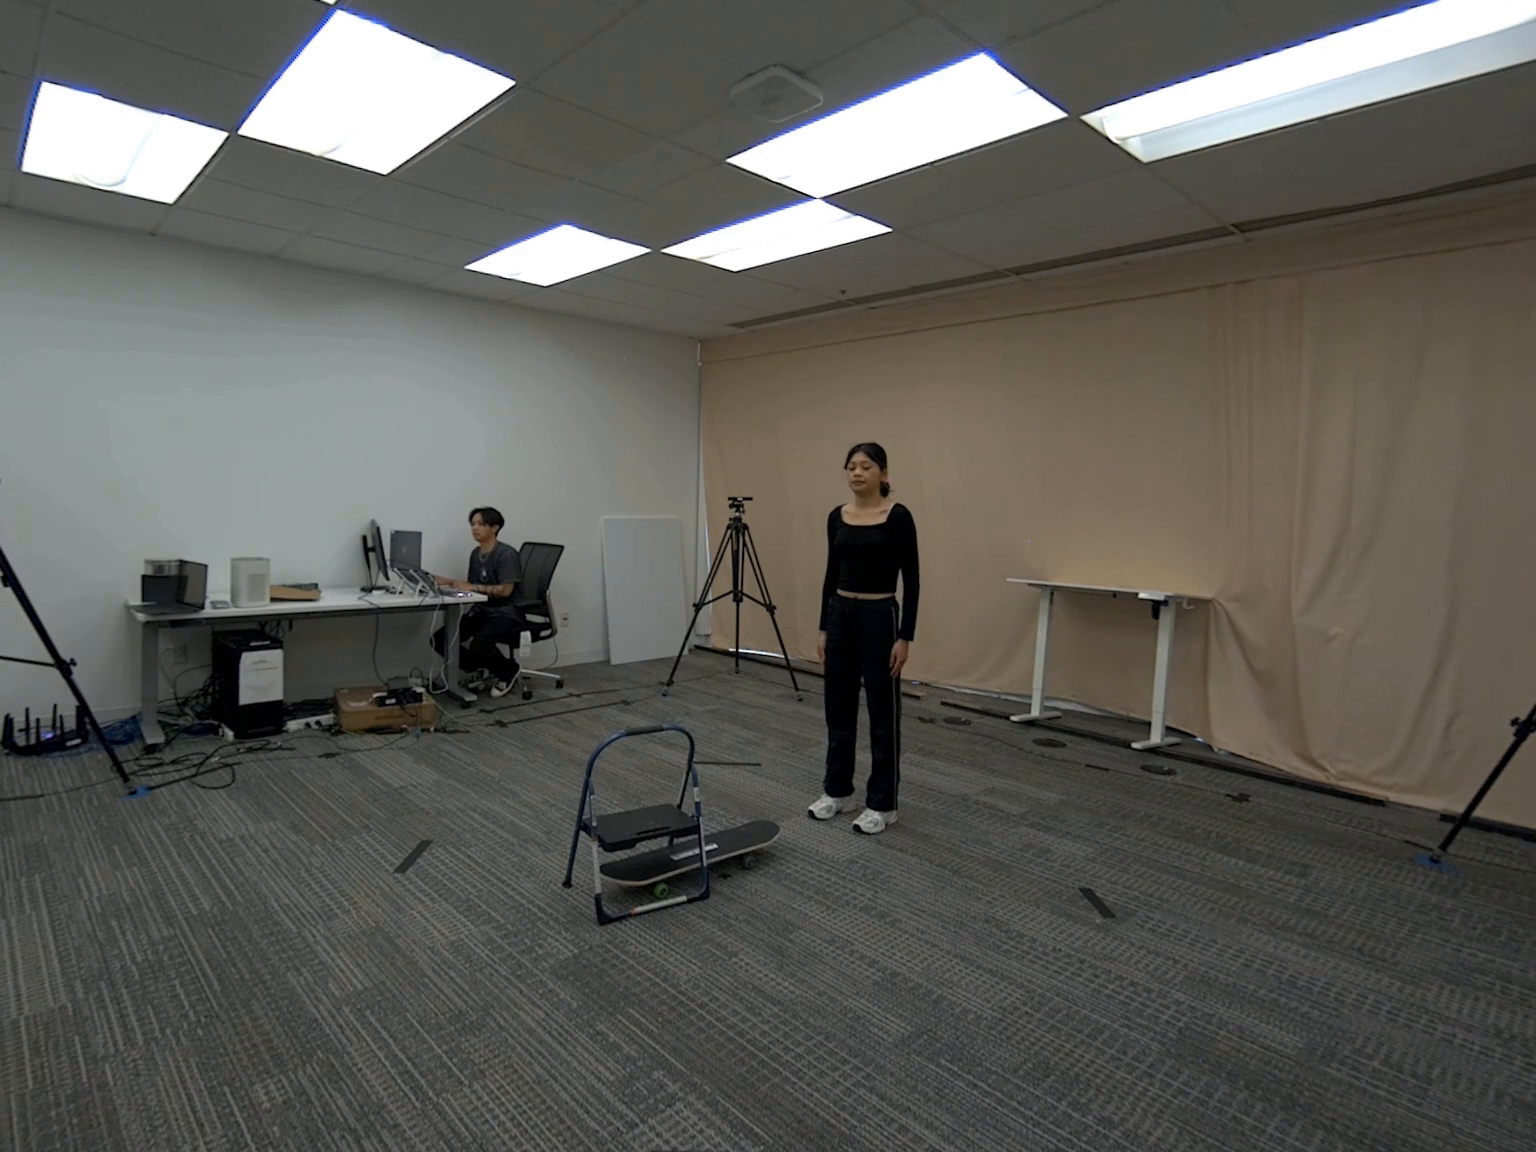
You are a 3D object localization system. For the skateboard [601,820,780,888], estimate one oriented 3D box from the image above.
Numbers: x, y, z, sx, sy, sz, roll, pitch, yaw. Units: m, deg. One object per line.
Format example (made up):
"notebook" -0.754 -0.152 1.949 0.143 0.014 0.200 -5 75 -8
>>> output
"skateboard" -0.276 1.044 3.103 0.768 0.110 0.198 -3 8 -39
